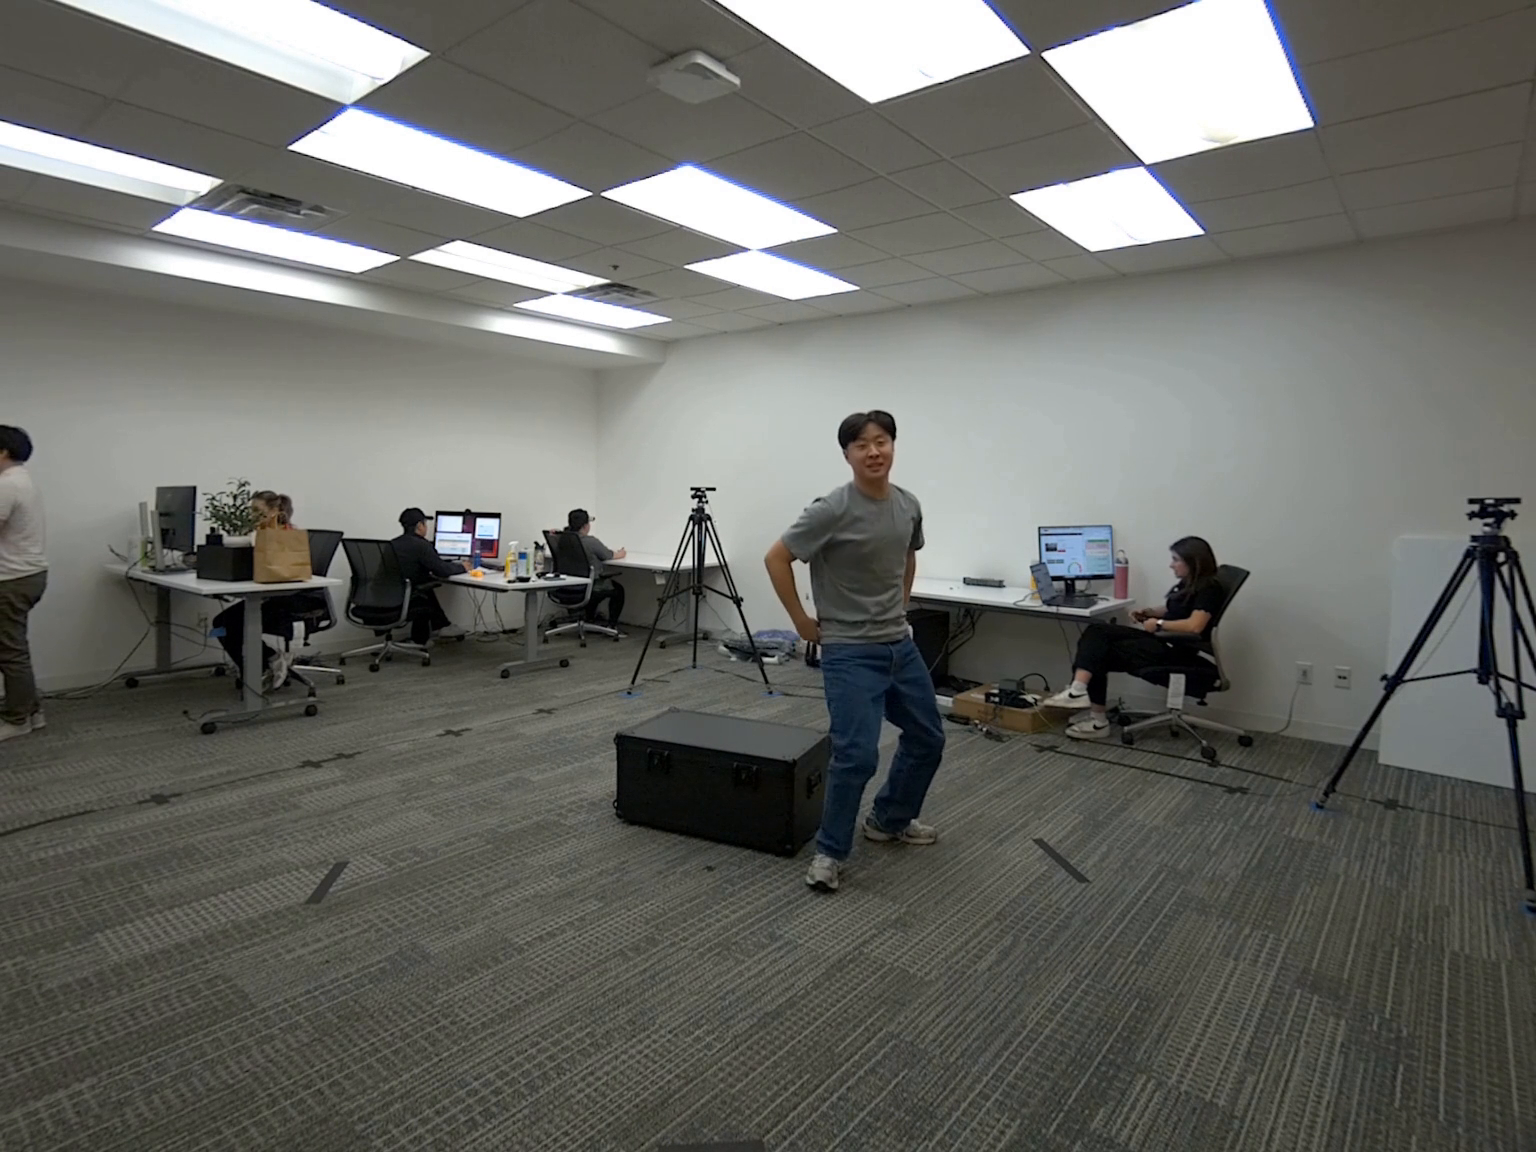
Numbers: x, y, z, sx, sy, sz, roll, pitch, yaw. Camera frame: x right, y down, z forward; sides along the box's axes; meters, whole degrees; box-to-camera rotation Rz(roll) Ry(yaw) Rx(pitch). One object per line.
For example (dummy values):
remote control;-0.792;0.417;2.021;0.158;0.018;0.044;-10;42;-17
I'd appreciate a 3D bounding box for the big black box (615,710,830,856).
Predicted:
big black box;-0.217;0.829;3.574;0.883;0.394;0.510;4;6;24
